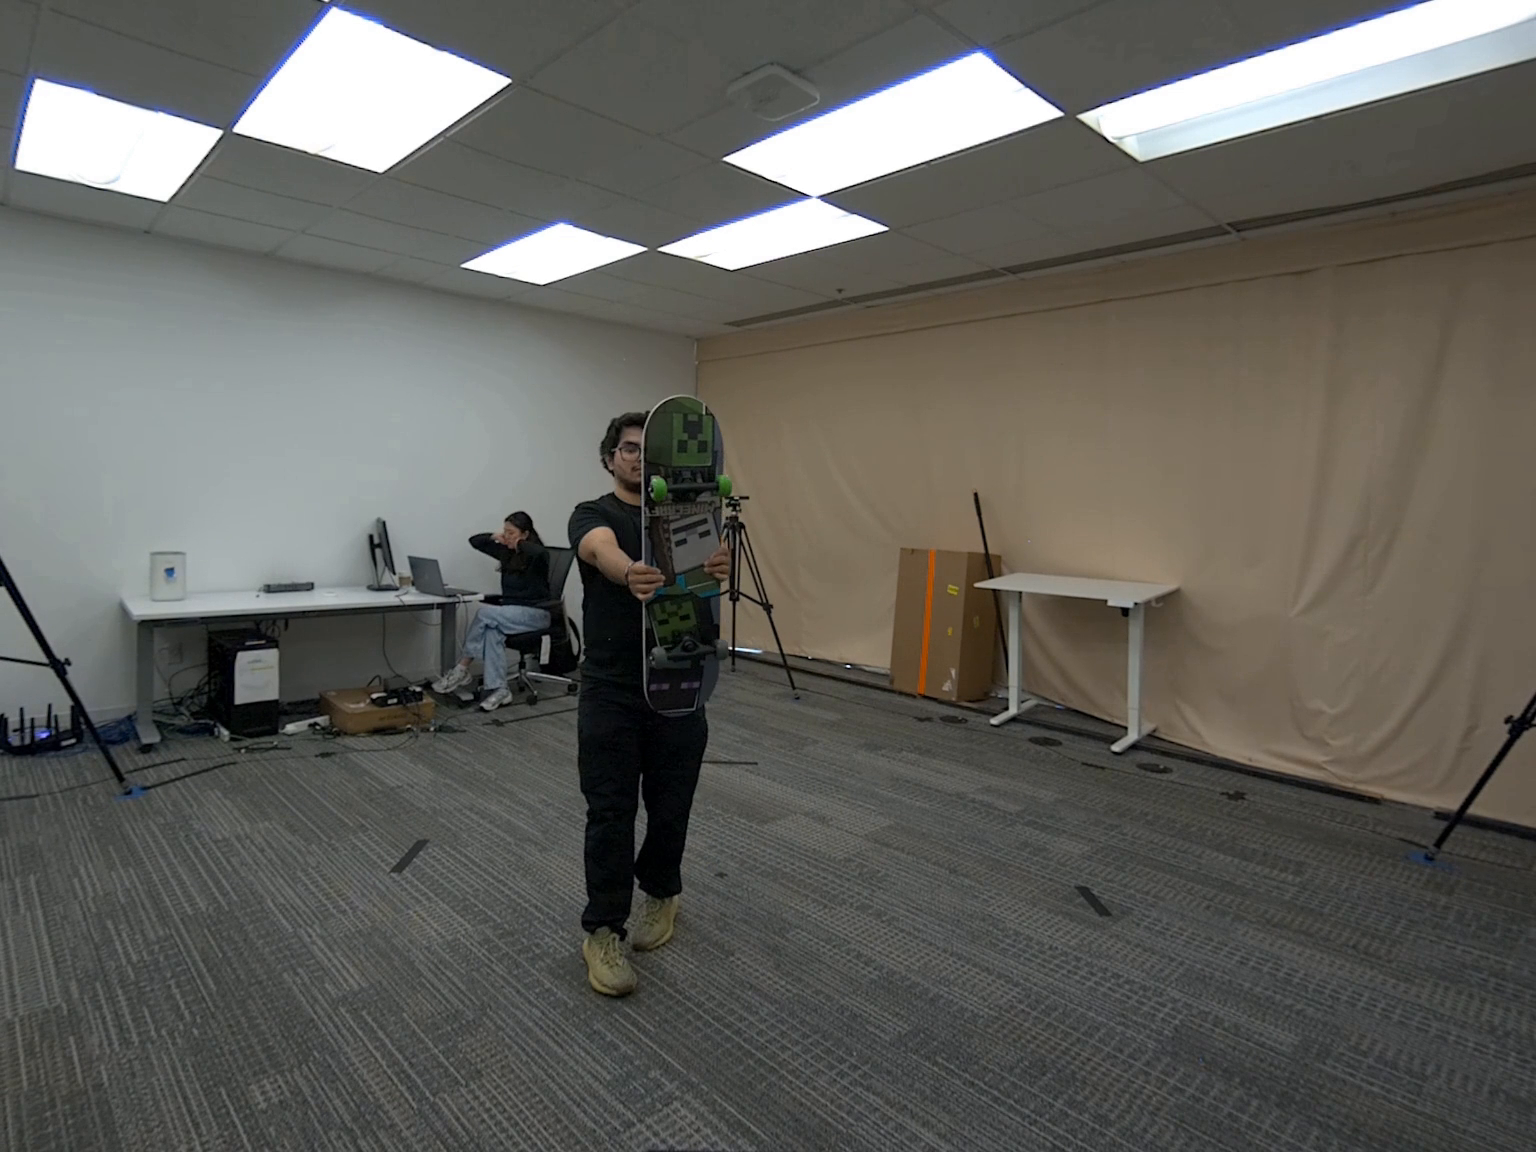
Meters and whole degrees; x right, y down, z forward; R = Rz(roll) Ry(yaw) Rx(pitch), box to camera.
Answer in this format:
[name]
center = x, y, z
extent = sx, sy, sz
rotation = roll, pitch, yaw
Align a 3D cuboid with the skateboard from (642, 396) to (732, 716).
[skateboard]
center = -0.200, -0.012, 1.951
extent = 0.191, 0.777, 0.113
rotation = -3, 16, -18
